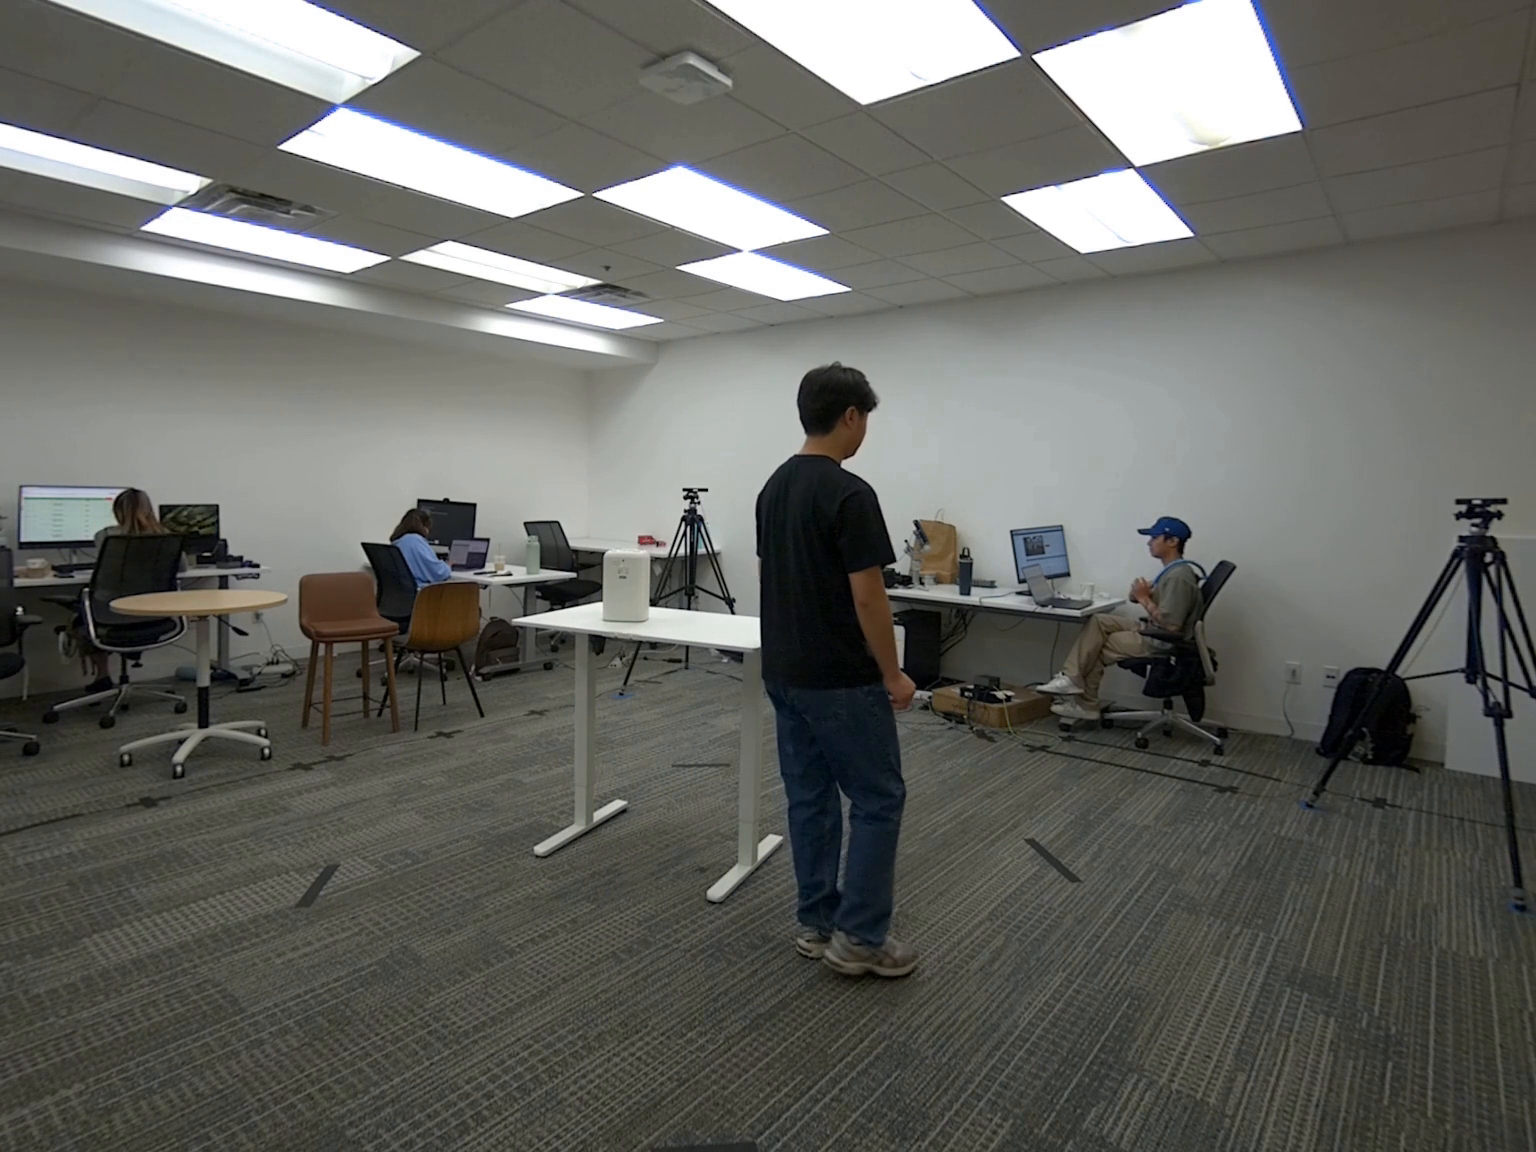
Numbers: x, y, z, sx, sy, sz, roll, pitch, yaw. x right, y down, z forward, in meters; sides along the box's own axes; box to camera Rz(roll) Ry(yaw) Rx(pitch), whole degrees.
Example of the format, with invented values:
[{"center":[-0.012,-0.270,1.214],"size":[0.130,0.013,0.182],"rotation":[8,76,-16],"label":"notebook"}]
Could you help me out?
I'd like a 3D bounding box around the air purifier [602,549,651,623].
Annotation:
[{"center":[-0.557,0.031,3.267],"size":[0.172,0.264,0.171],"rotation":[2,4,3],"label":"air purifier"}]
